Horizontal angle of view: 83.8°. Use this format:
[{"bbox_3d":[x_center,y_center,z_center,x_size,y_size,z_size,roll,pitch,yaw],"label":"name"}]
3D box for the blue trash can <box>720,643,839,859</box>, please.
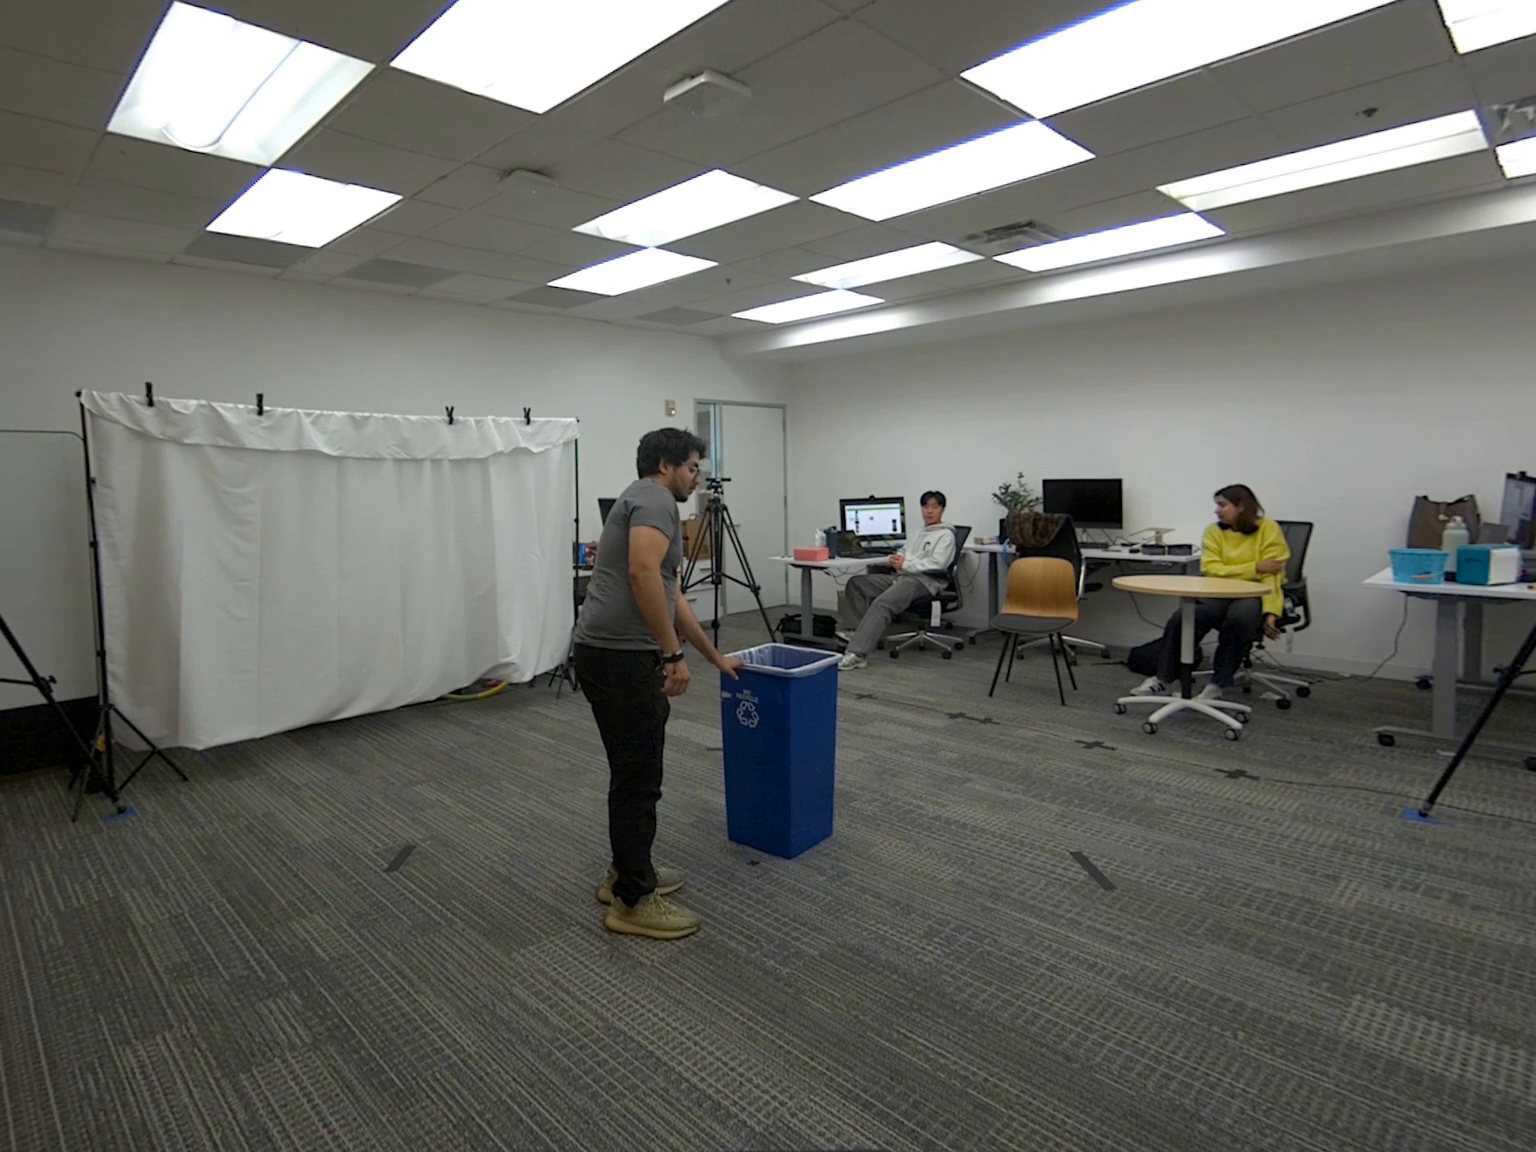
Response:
[{"bbox_3d":[0.054,0.660,3.303,0.385,0.711,0.368,3,6,38],"label":"blue trash can"}]
